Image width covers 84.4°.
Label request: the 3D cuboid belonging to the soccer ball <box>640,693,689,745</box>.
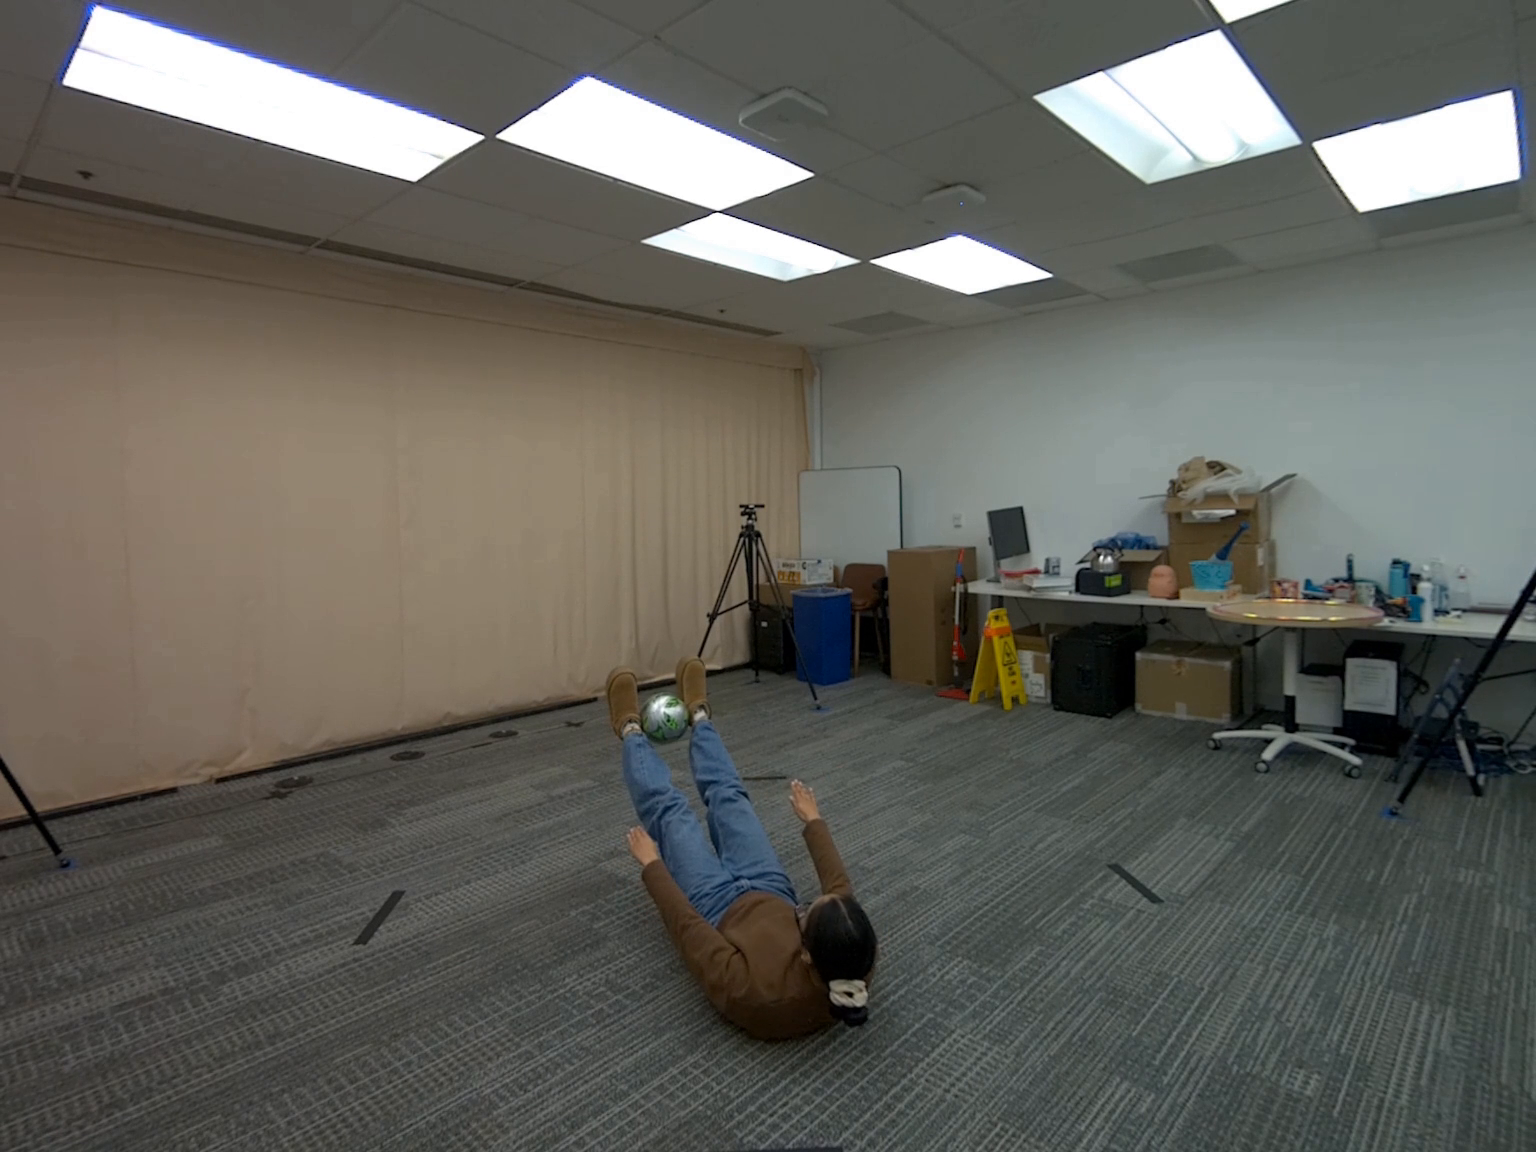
[{"bbox_3d":[-0.392,0.541,3.133,0.187,0.187,0.188,-1,4,-2],"label":"soccer ball"}]
